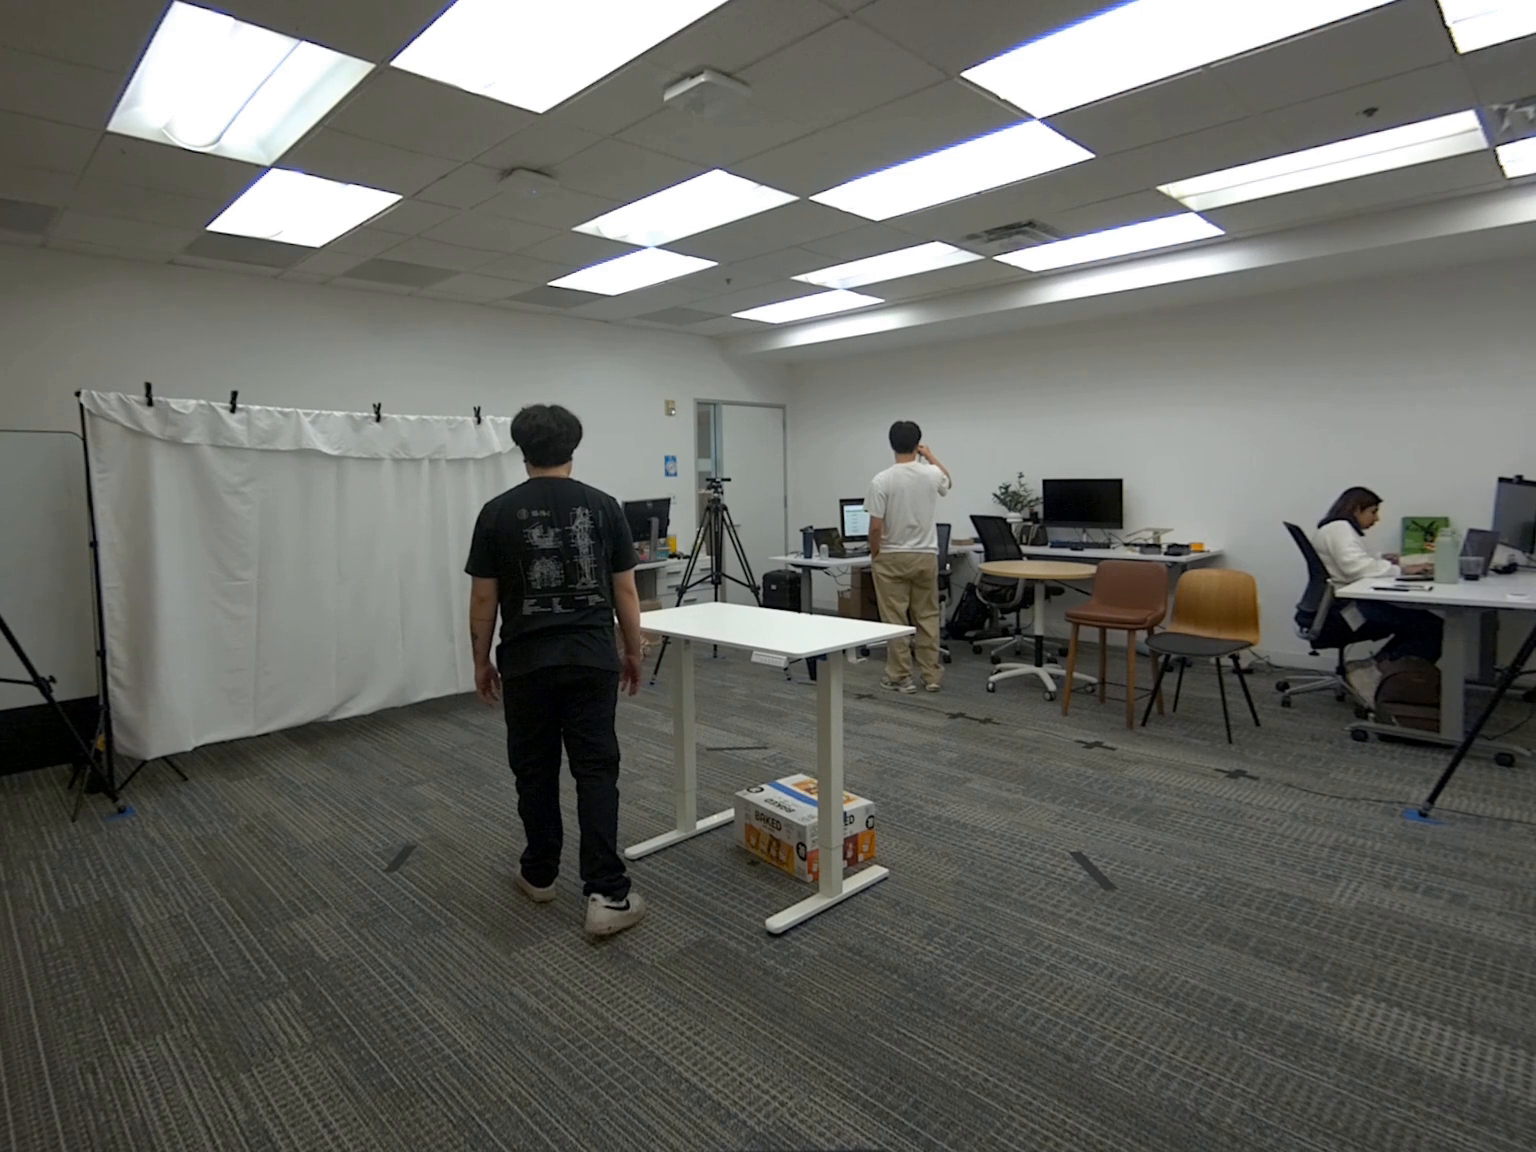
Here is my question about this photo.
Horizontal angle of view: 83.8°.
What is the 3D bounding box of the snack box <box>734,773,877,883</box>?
[{"bbox_3d":[0.133,0.930,3.191,0.331,0.205,0.417,-5,7,-39],"label":"snack box"}]
